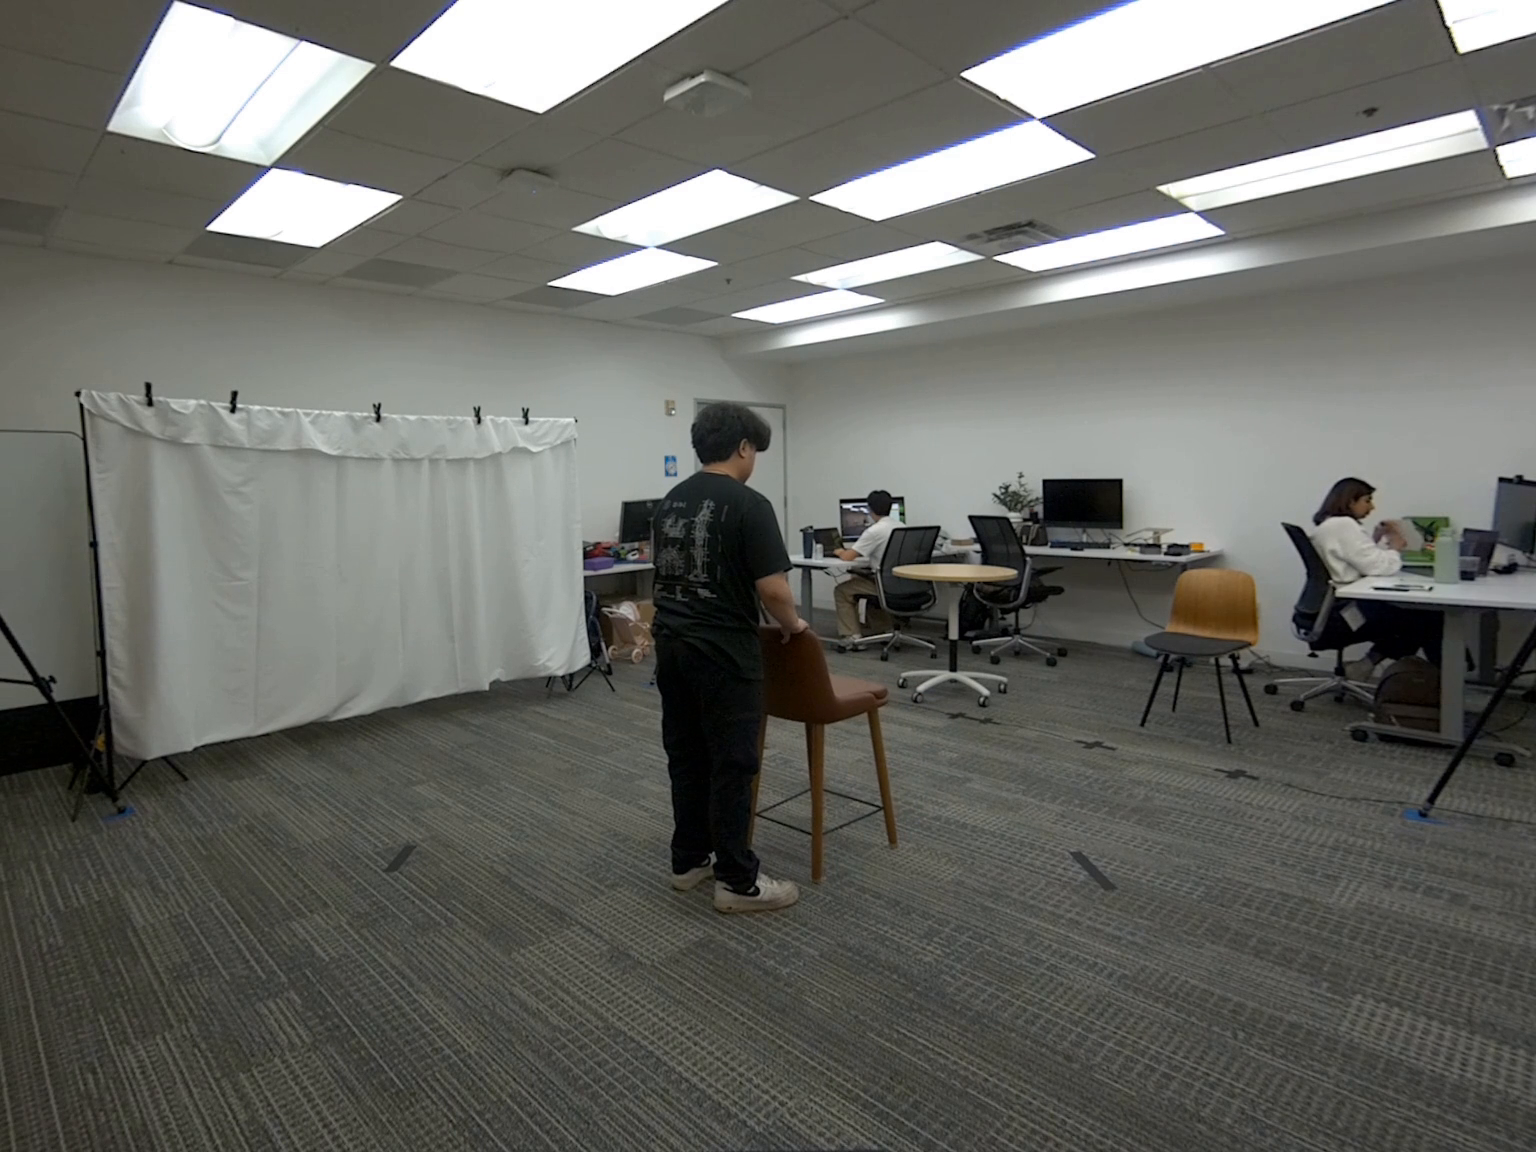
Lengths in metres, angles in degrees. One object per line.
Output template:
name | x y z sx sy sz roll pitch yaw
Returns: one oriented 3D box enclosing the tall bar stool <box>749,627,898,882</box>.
tall bar stool | 0.166 0.587 3.192 0.456 0.886 0.470 -7 6 -44
